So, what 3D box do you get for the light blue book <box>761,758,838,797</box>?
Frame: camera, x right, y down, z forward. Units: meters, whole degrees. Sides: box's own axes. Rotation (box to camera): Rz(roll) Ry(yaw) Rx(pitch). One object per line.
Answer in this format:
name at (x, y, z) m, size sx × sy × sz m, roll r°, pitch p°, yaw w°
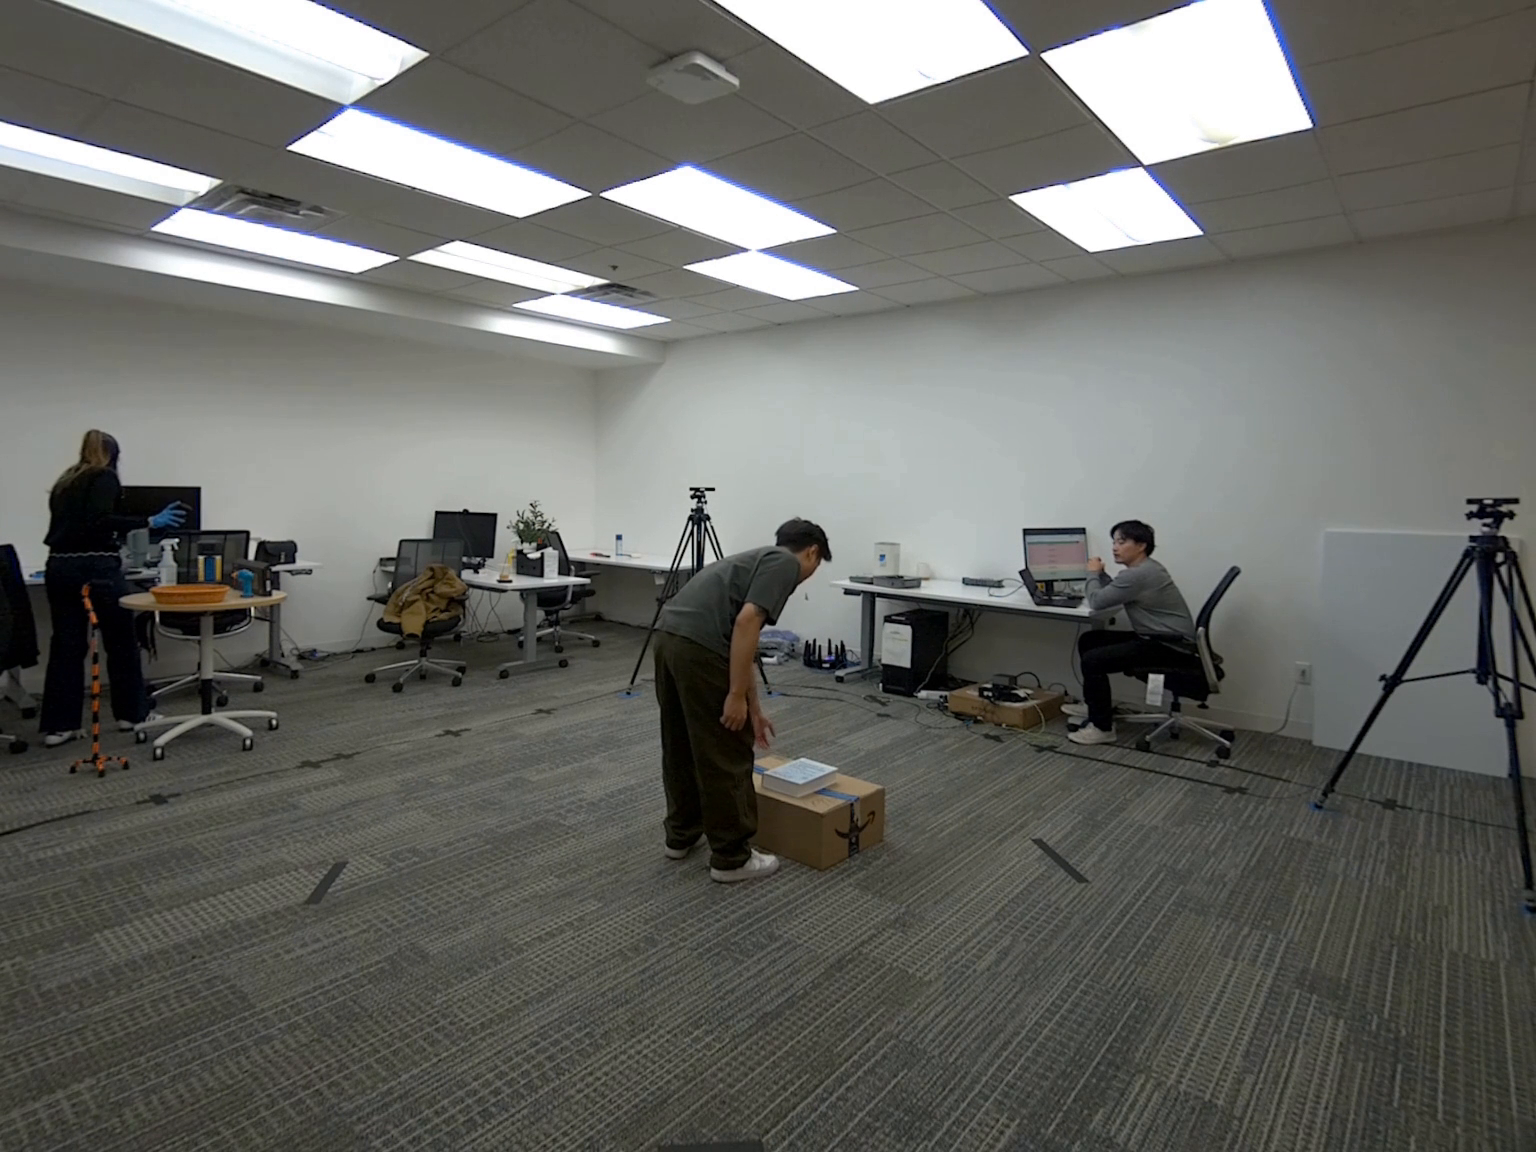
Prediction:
light blue book at (0.120, 0.801, 3.419) m, size 0.198 × 0.059 × 0.253 m, roll 7°, pitch 8°, yaw 40°
